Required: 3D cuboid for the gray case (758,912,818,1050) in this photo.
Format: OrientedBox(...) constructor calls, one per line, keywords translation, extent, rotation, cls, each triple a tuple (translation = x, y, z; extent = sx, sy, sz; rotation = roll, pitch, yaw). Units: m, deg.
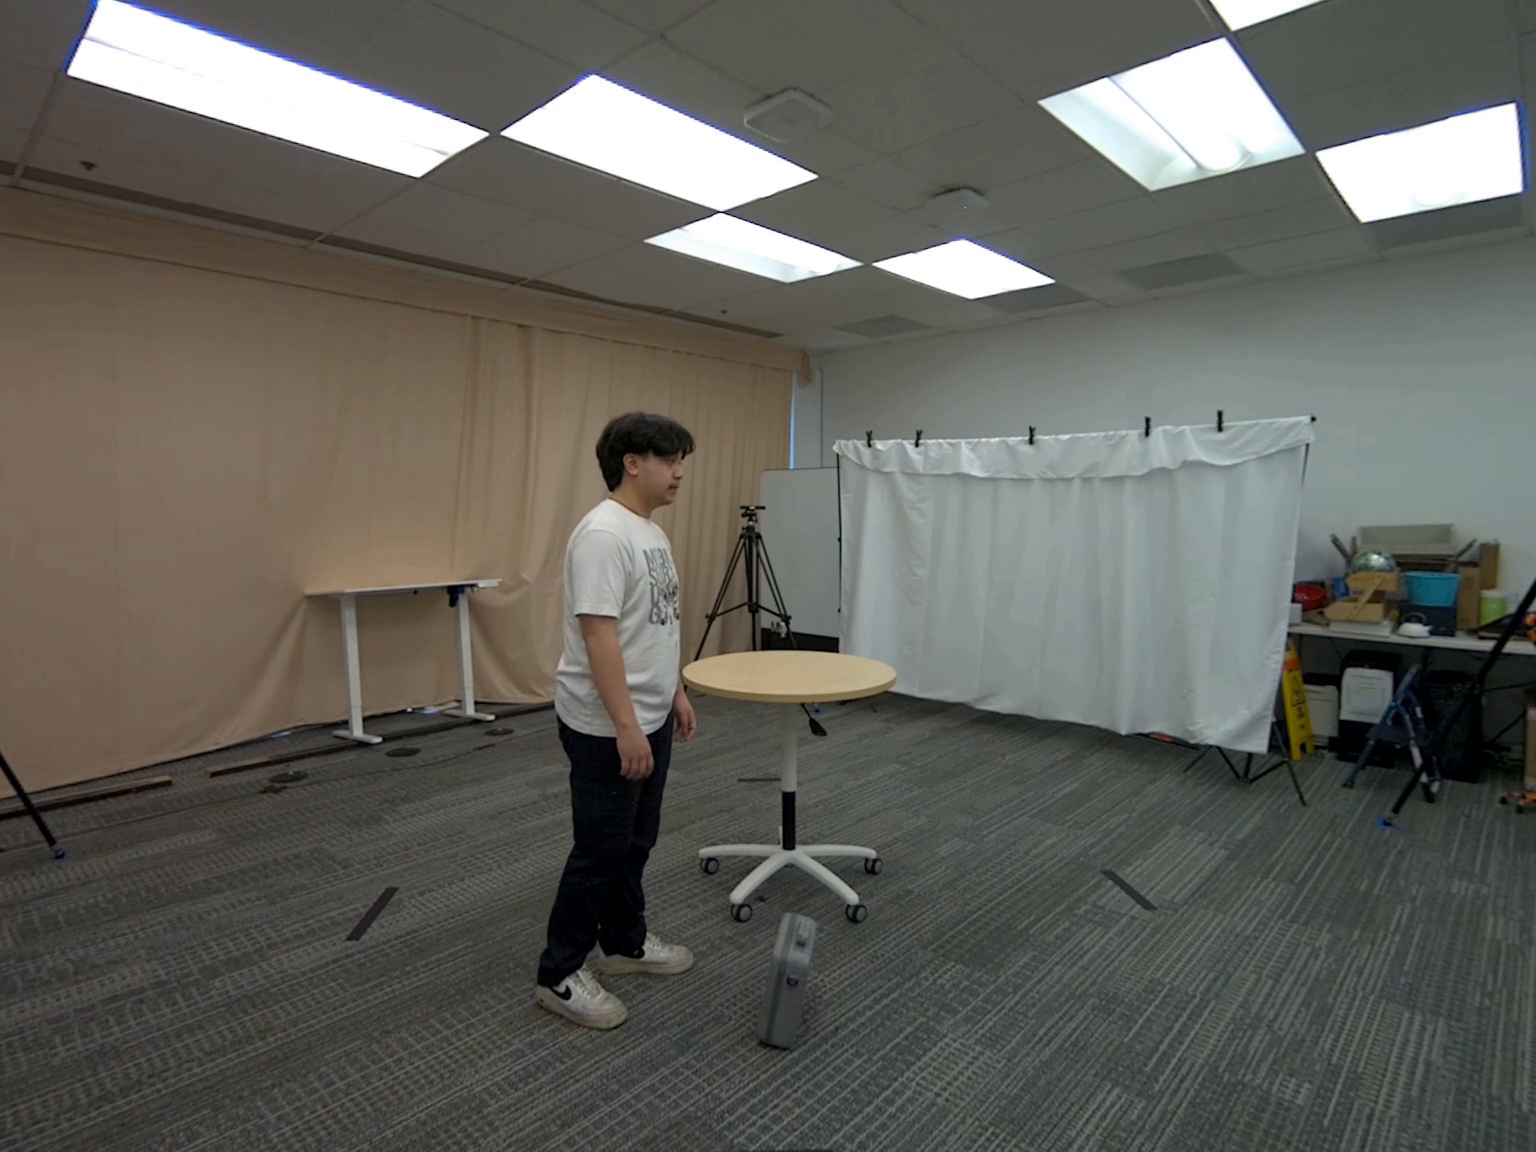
OrientedBox(translation=(0.059, 1.078, 2.250), extent=(0.106, 0.260, 0.254), rotation=(12, 6, 9), cls="gray case")
